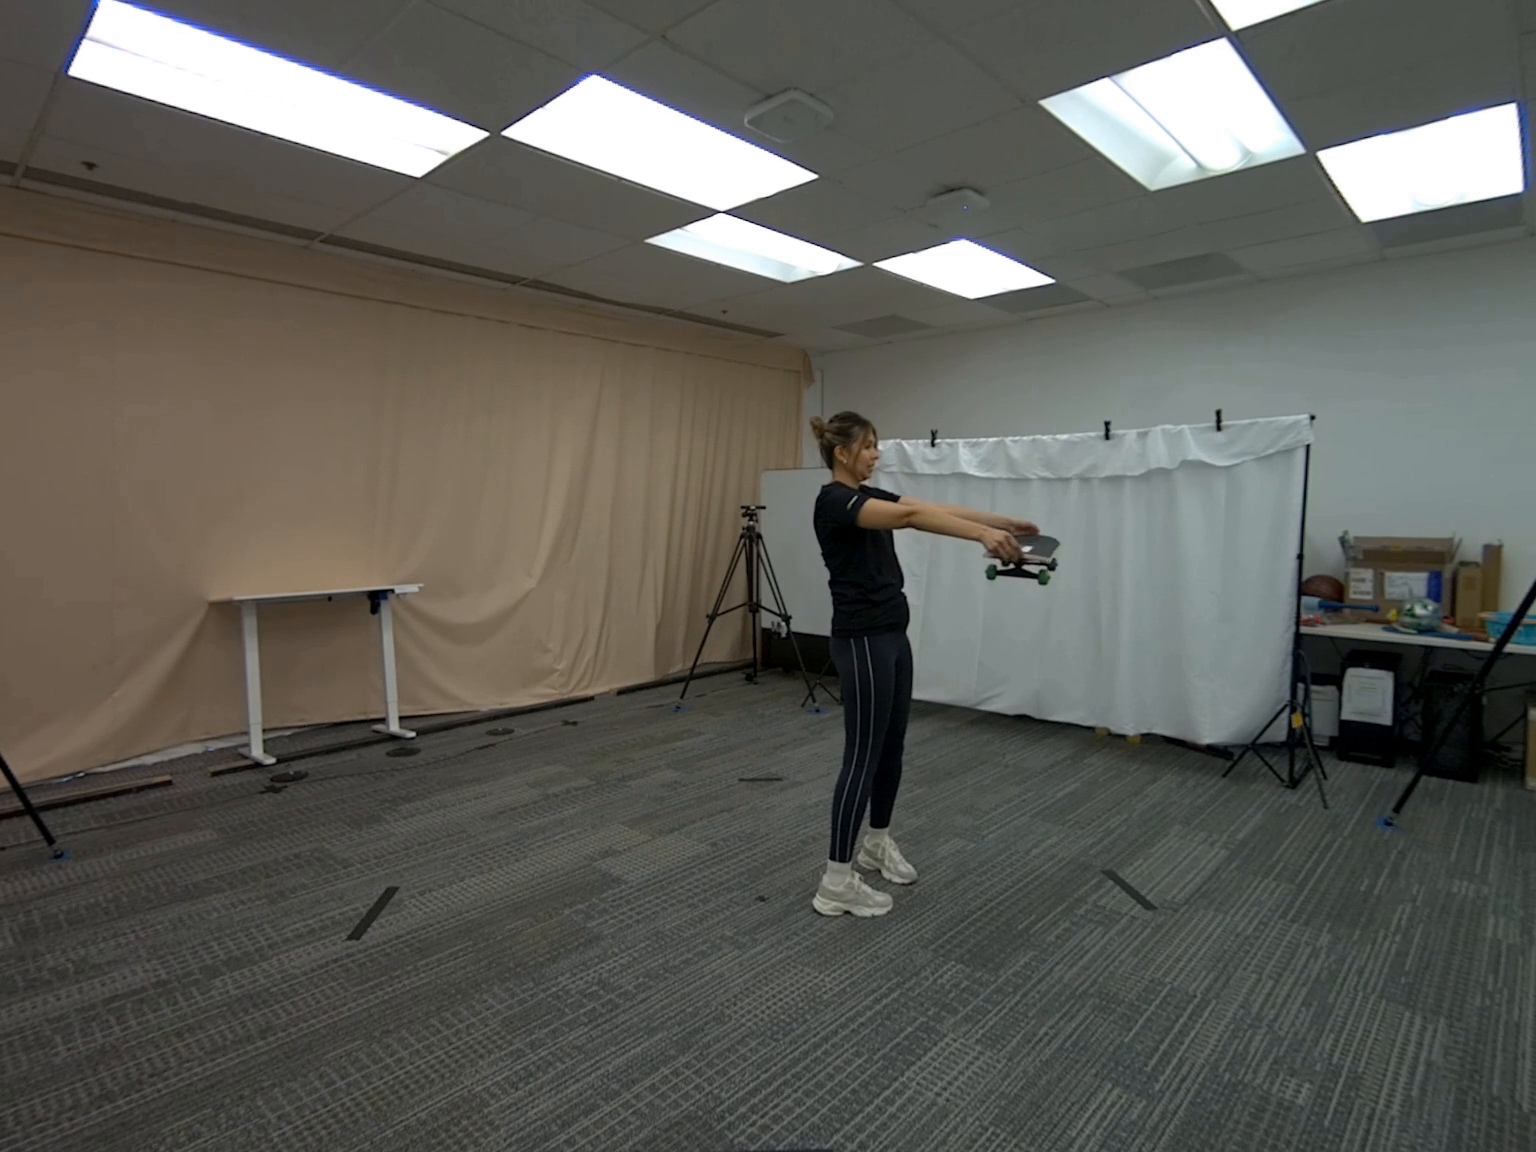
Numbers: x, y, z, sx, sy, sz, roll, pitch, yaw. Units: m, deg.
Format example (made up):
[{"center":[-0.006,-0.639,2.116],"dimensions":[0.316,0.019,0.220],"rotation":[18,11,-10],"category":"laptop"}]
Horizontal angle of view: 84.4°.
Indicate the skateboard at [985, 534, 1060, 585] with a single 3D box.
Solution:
[{"center":[0.848,-0.056,2.805],"dimensions":[0.198,0.110,0.771],"rotation":[3,9,20],"category":"skateboard"}]
